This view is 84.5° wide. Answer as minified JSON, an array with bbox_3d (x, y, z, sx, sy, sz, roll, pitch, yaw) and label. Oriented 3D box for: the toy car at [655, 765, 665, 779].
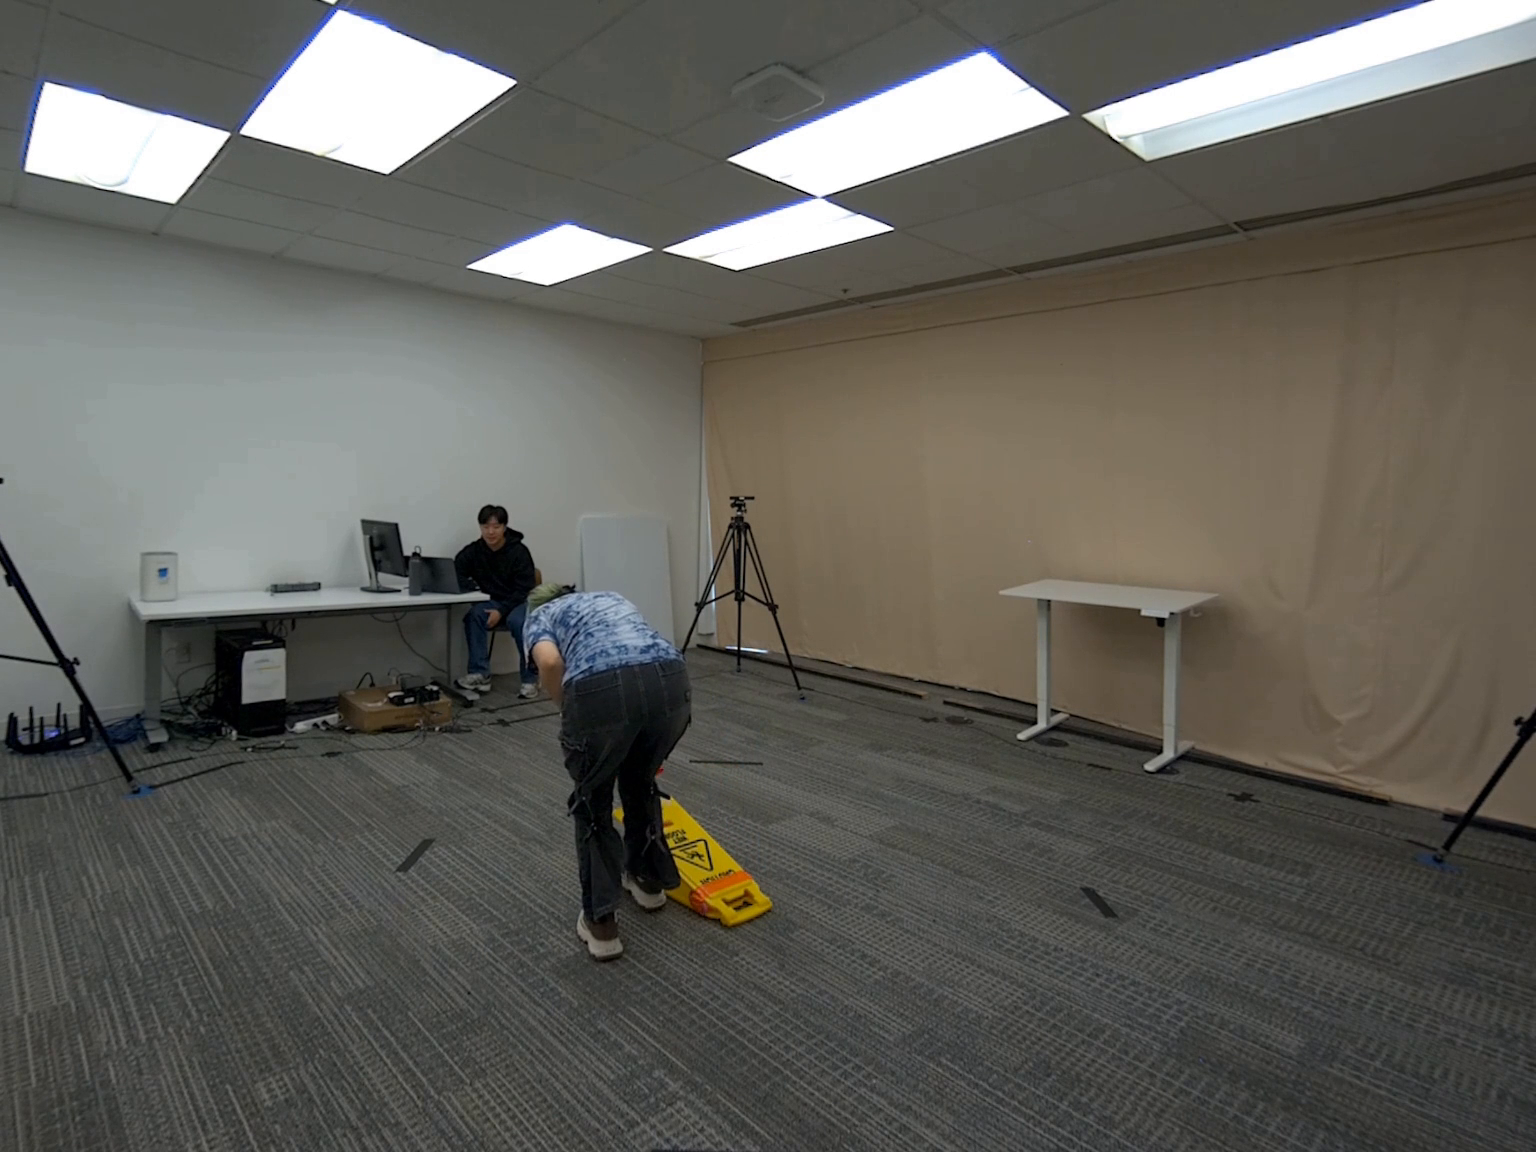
[{"bbox_3d":[-0.512,0.755,3.237,0.259,0.083,0.128,-9,1,45],"label":"toy car"}]
